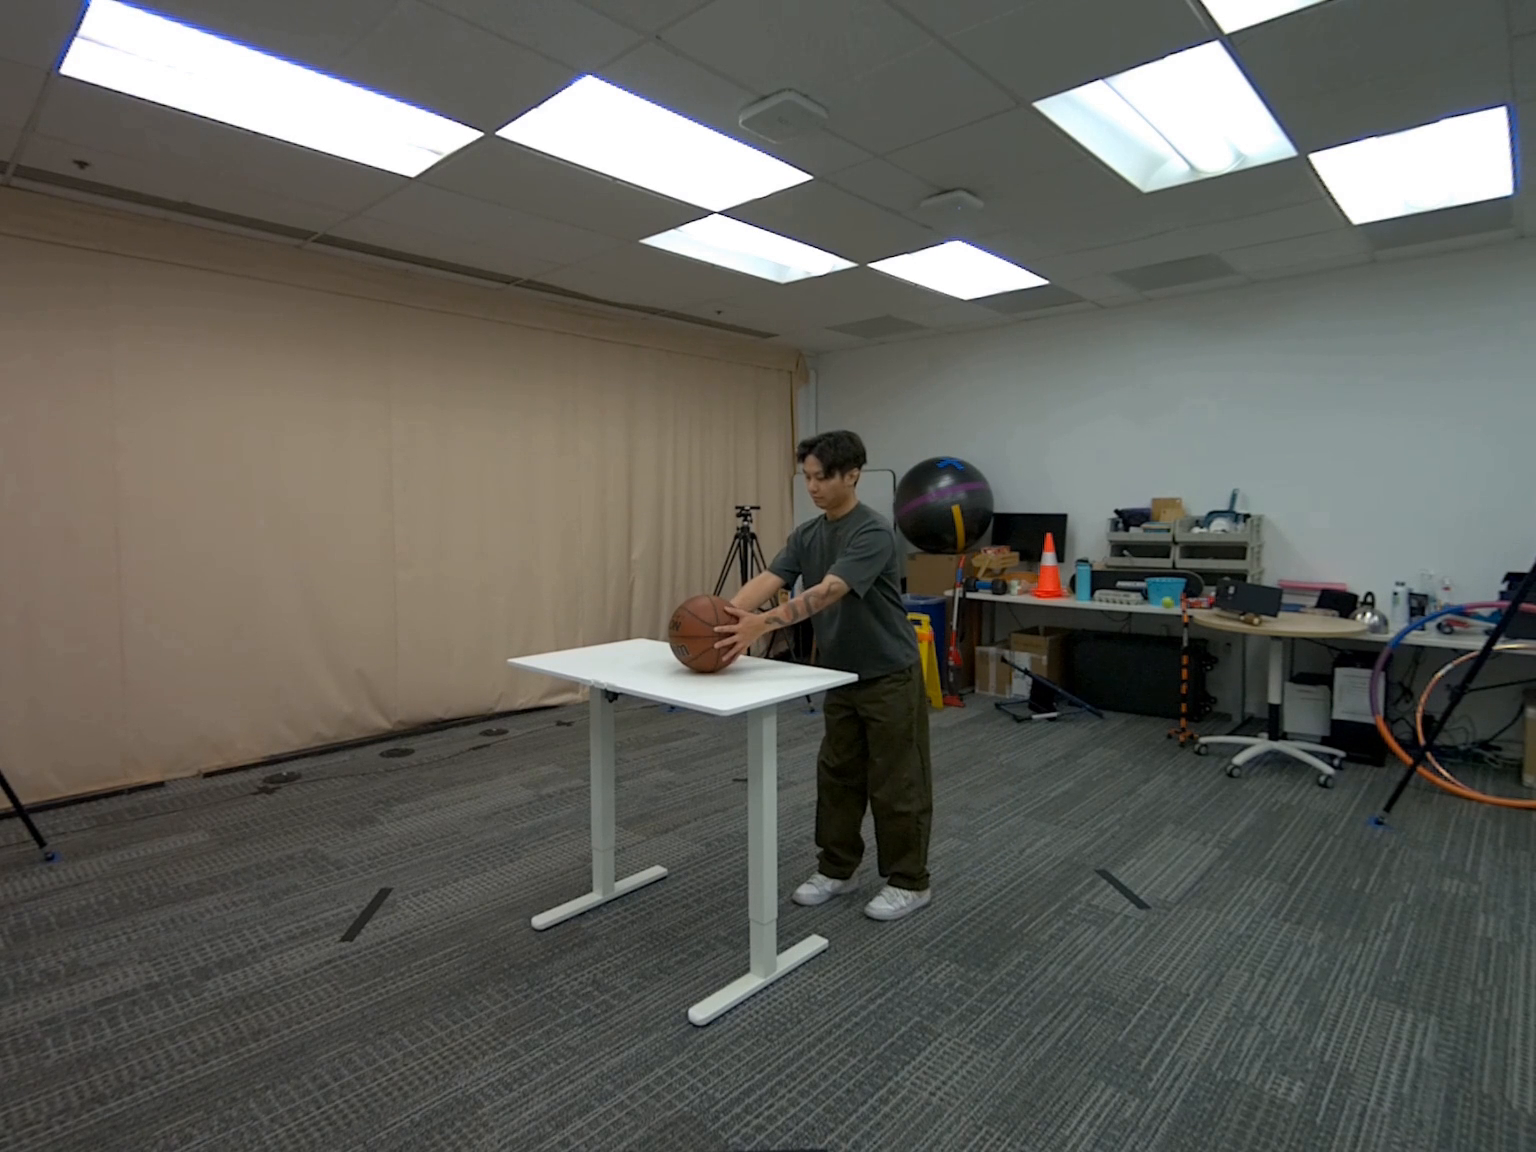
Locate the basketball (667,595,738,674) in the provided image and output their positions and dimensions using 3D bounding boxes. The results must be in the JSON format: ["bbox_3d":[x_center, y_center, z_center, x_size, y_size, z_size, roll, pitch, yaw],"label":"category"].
[{"bbox_3d":[-0.184,0.176,2.609,0.236,0.235,0.237,0,4,-2],"label":"basketball"}]
